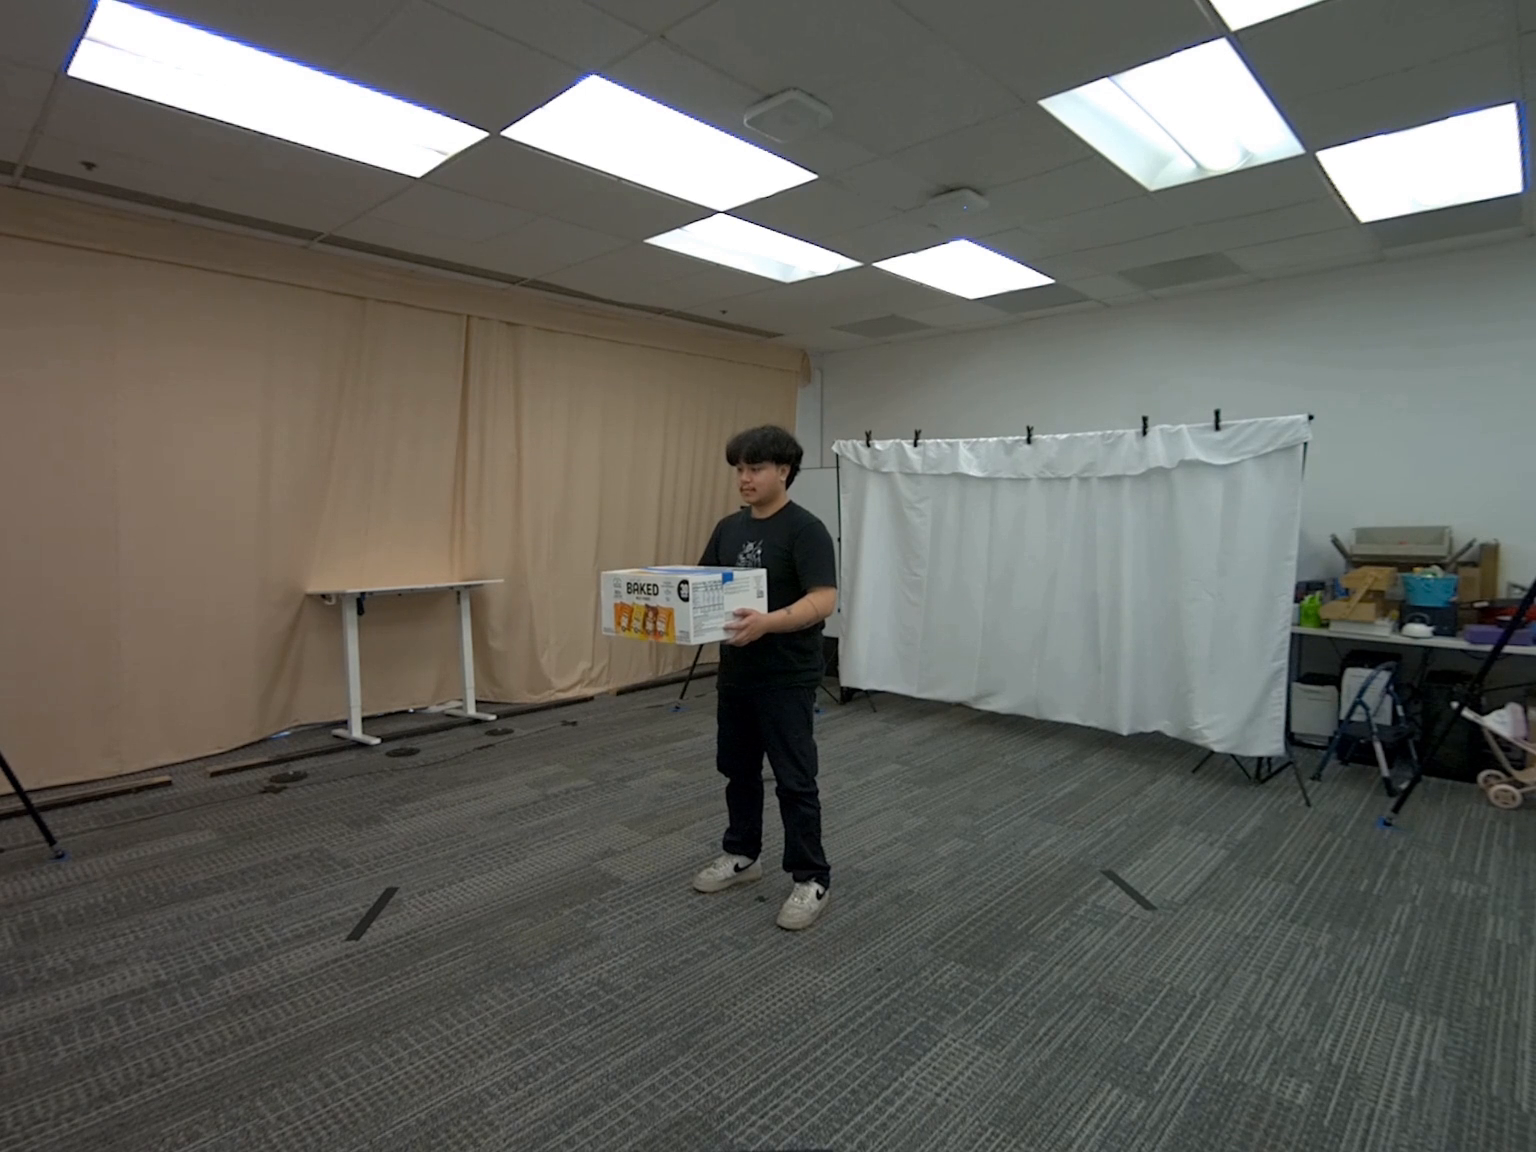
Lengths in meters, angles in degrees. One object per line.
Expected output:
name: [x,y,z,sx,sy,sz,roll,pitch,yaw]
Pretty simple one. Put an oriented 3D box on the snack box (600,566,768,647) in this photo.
snack box: [-0.265,0.087,2.669,0.418,0.205,0.330,3,6,42]
